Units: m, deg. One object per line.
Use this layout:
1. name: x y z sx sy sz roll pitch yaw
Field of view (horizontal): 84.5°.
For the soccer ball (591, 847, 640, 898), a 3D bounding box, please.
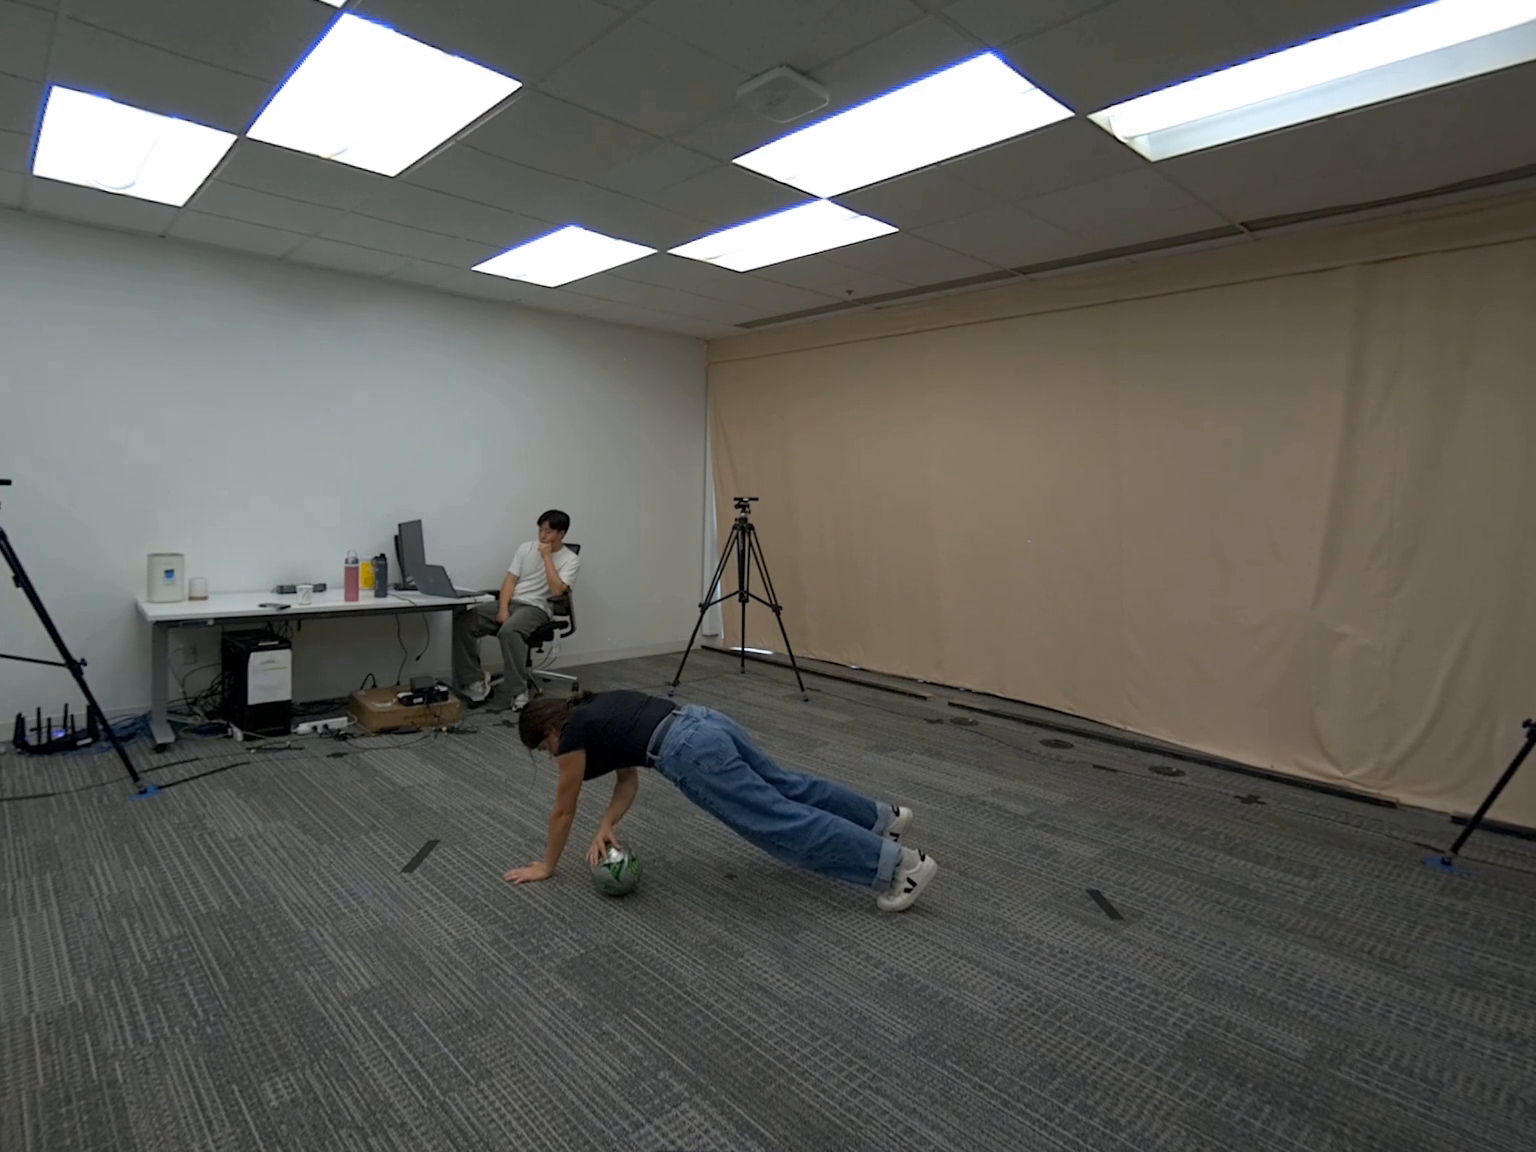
1. soccer ball: -0.539 1.011 2.966 0.187 0.187 0.188 1 4 -1
